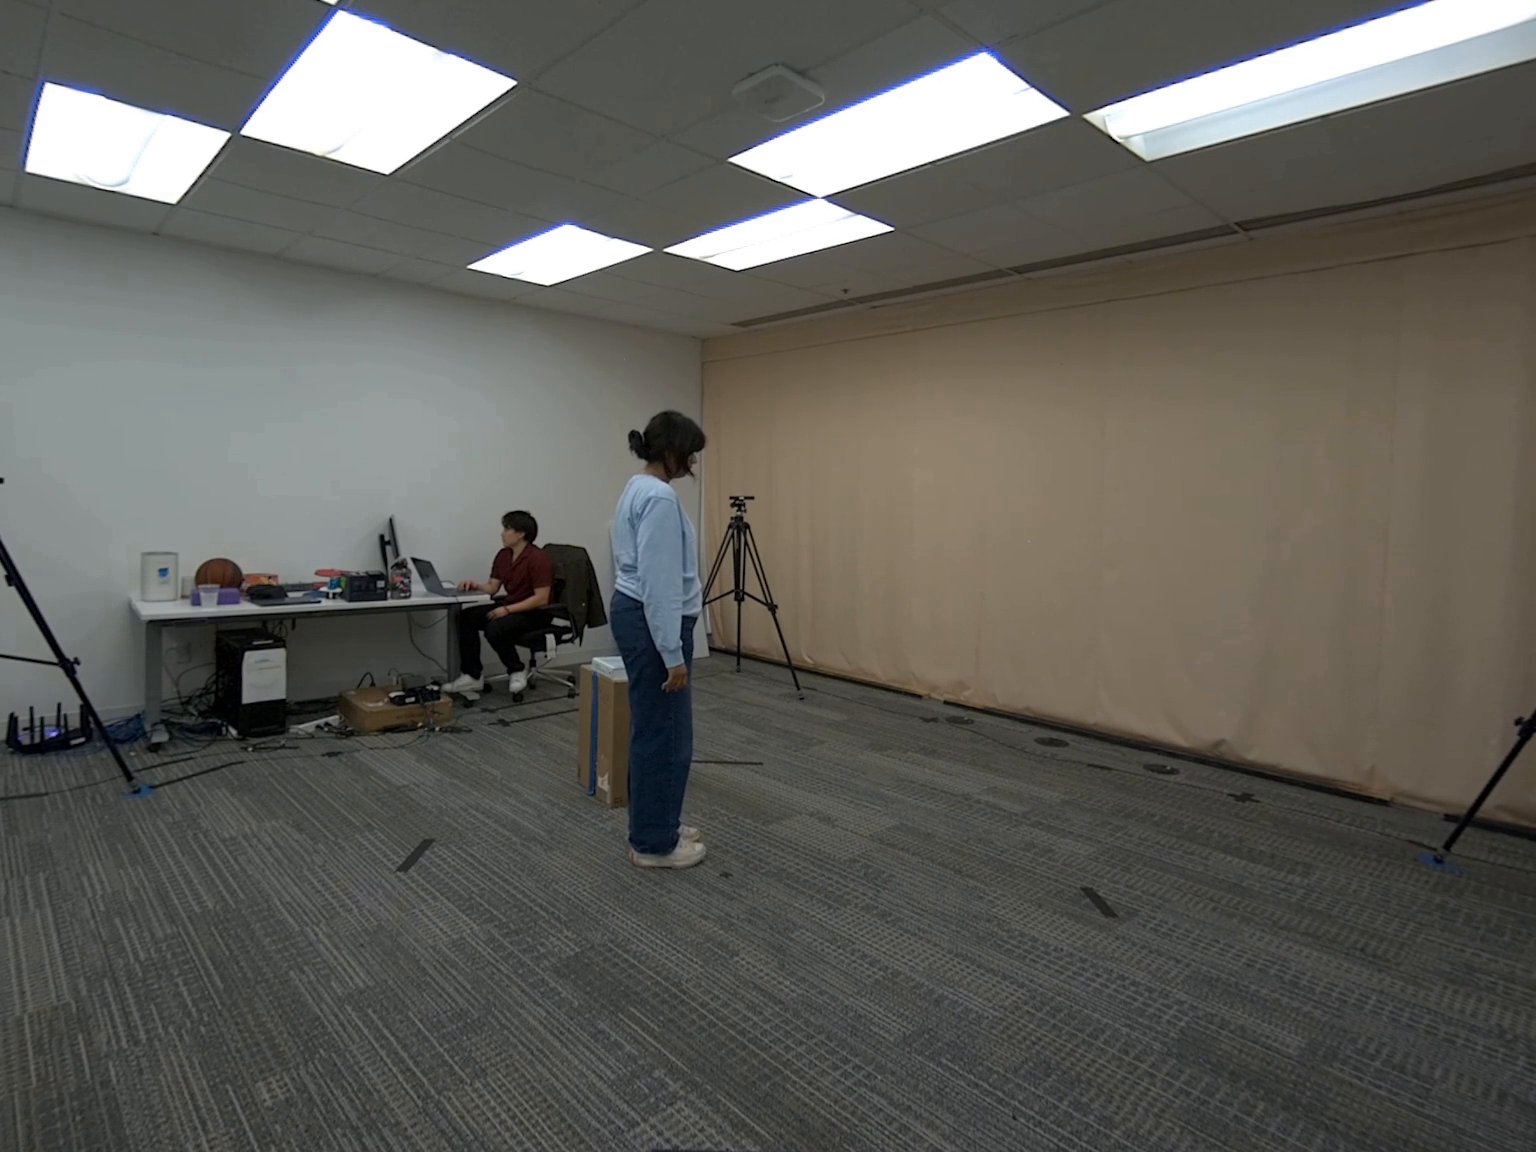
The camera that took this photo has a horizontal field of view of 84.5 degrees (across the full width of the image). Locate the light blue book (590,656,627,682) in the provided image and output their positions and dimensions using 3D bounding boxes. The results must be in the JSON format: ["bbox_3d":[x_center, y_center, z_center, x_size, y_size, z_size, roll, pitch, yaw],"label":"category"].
[{"bbox_3d":[-0.685,0.424,3.912,0.187,0.059,0.267,0,5,-31],"label":"light blue book"}]
